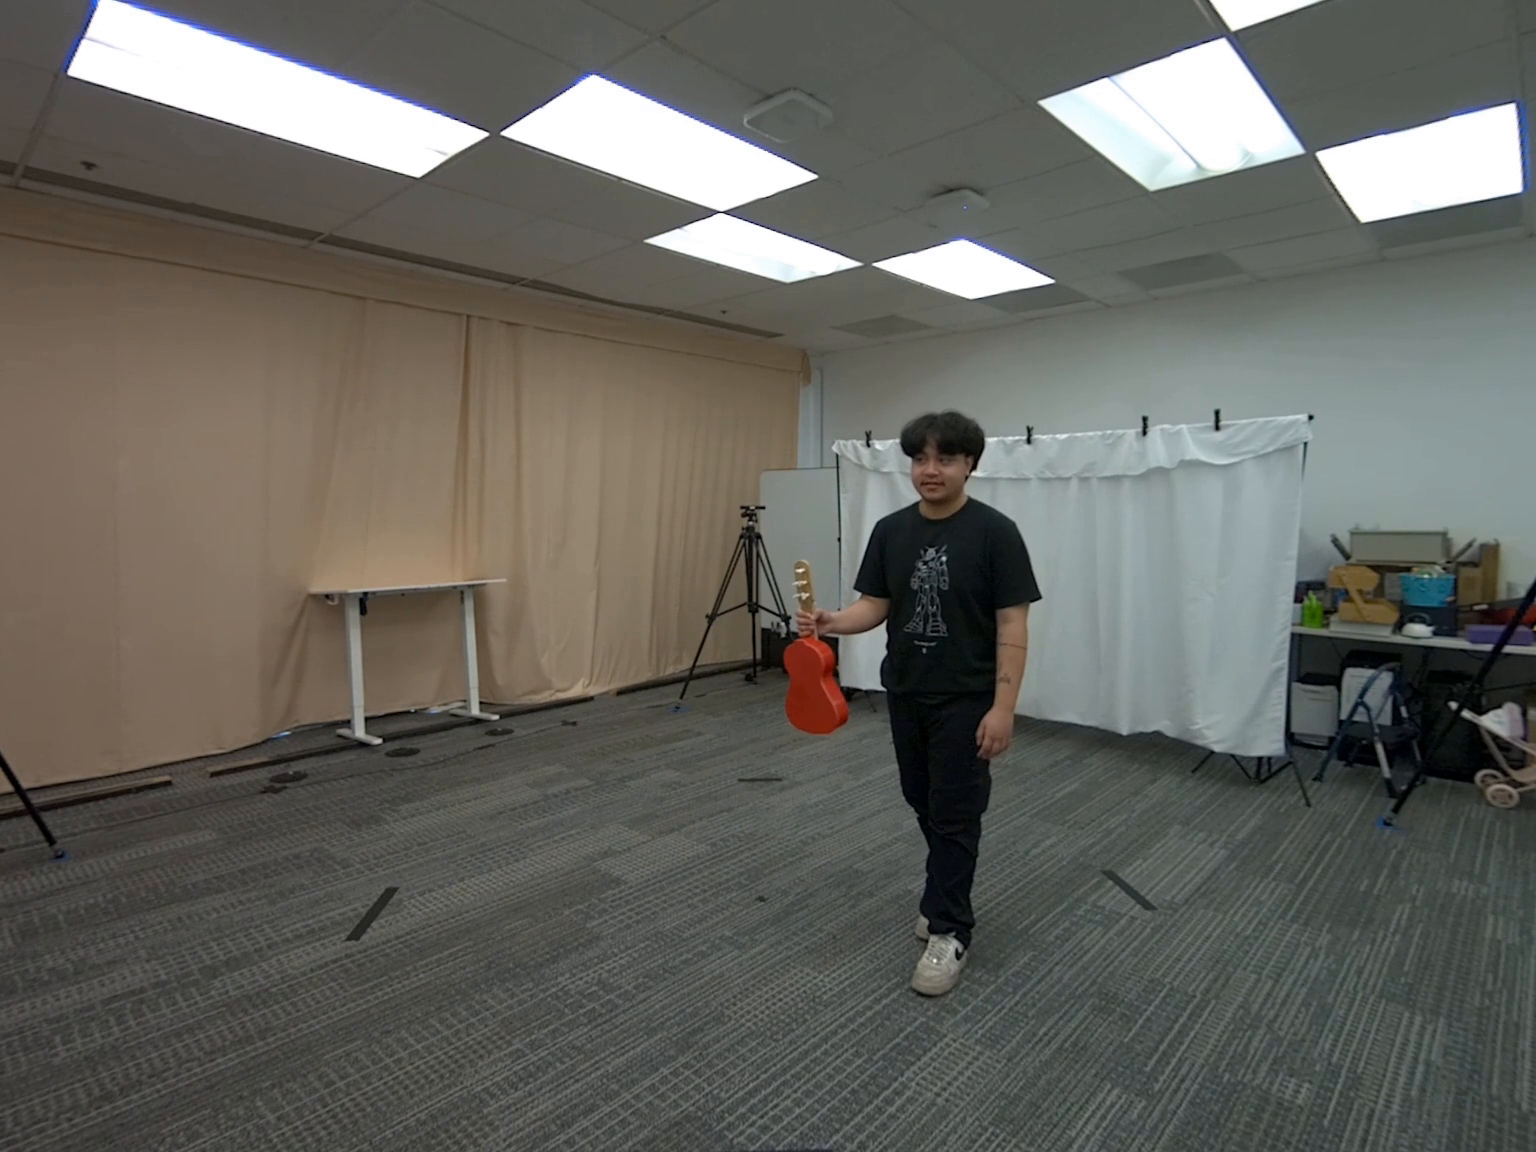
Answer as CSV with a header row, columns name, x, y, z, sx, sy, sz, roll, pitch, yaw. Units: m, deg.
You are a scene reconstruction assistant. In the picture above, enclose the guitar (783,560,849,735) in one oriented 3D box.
name,x,y,z,sx,sy,sz,roll,pitch,yaw
guitar,0.107,0.216,2.476,0.069,0.499,0.198,-11,-3,-44
